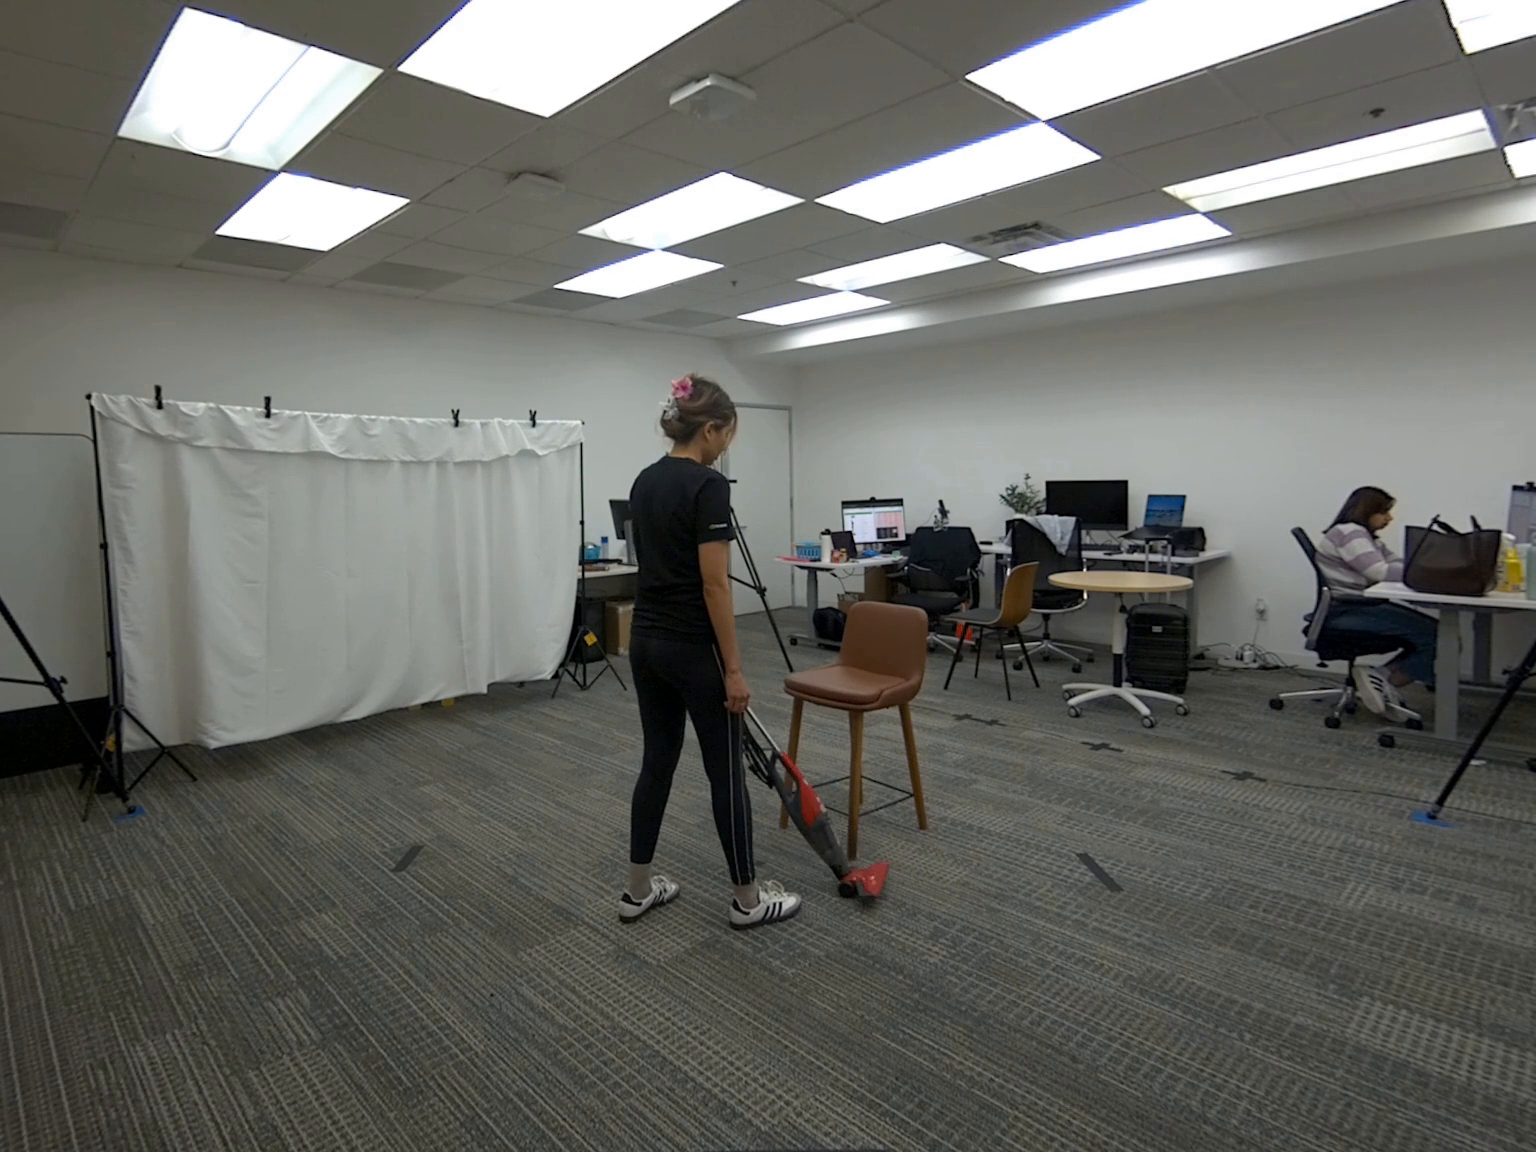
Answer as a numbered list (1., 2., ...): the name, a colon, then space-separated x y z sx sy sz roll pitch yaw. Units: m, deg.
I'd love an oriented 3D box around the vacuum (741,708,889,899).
1. vacuum: 0.010 0.634 2.983 0.144 1.067 0.248 -43 -13 23
